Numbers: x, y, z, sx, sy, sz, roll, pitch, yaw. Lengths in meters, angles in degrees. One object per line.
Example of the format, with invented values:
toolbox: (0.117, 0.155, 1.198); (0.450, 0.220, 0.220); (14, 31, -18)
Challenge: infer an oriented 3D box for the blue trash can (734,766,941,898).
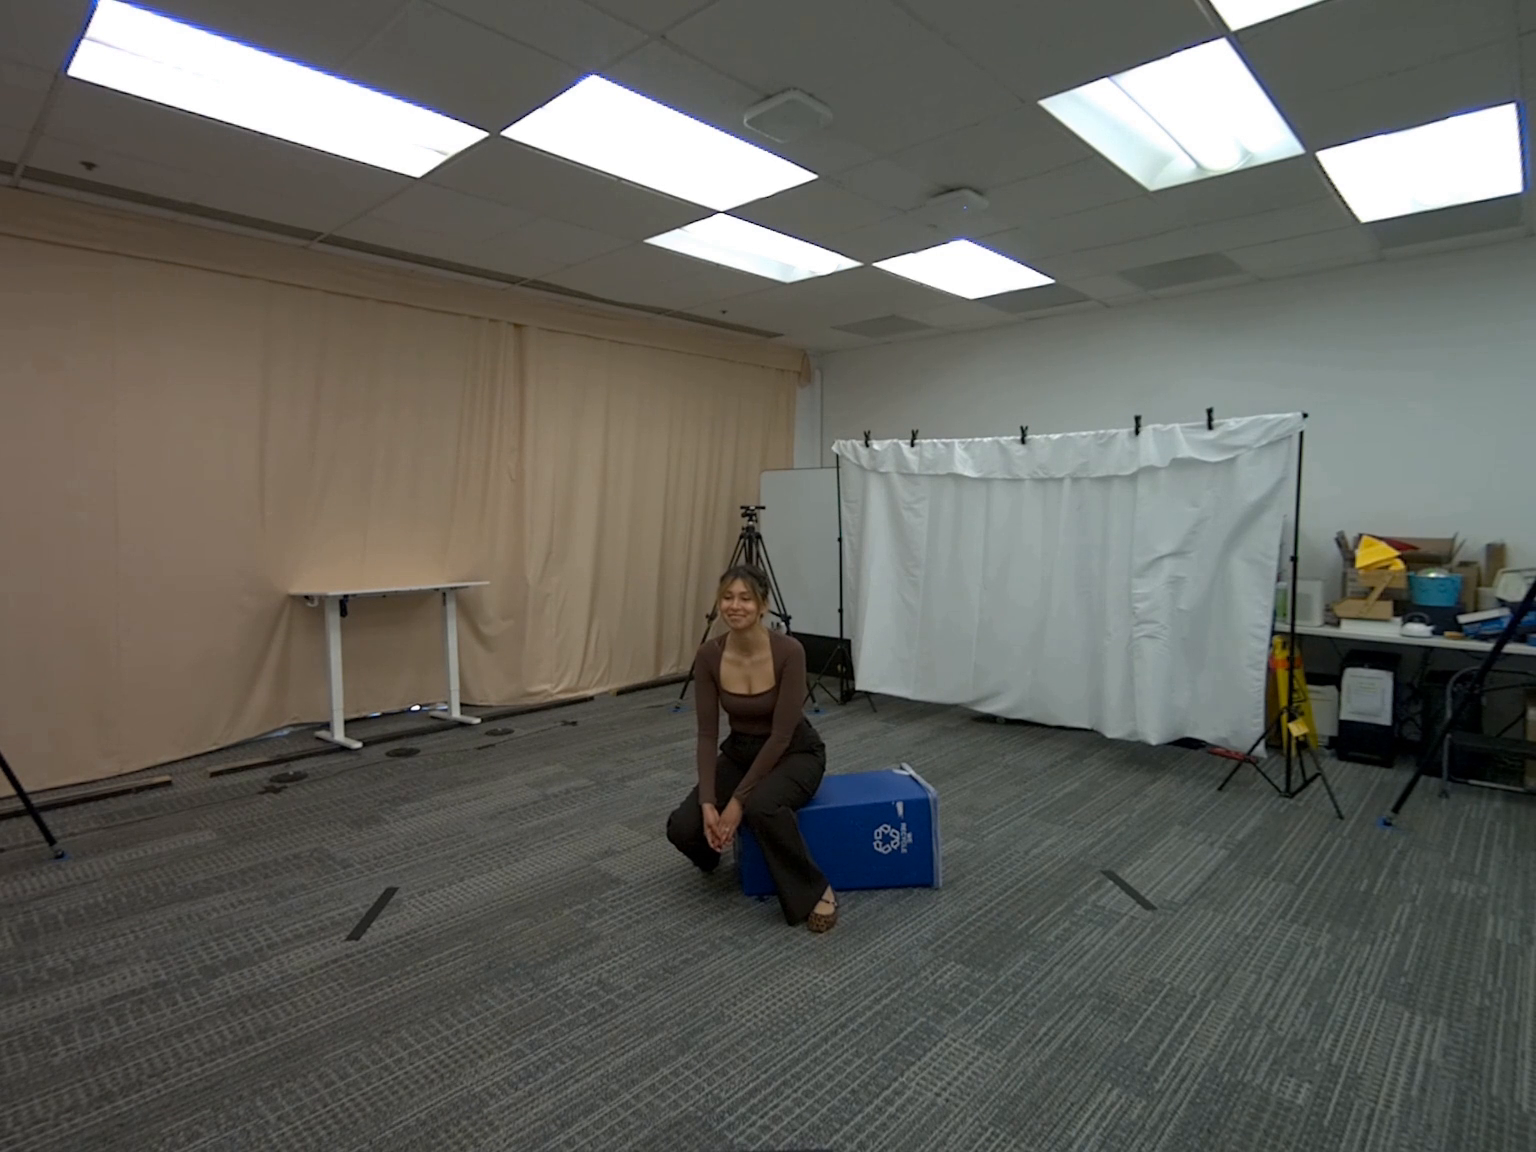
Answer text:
blue trash can: (0.247, 0.961, 3.156); (0.708, 0.377, 0.378); (-4, 5, -8)
